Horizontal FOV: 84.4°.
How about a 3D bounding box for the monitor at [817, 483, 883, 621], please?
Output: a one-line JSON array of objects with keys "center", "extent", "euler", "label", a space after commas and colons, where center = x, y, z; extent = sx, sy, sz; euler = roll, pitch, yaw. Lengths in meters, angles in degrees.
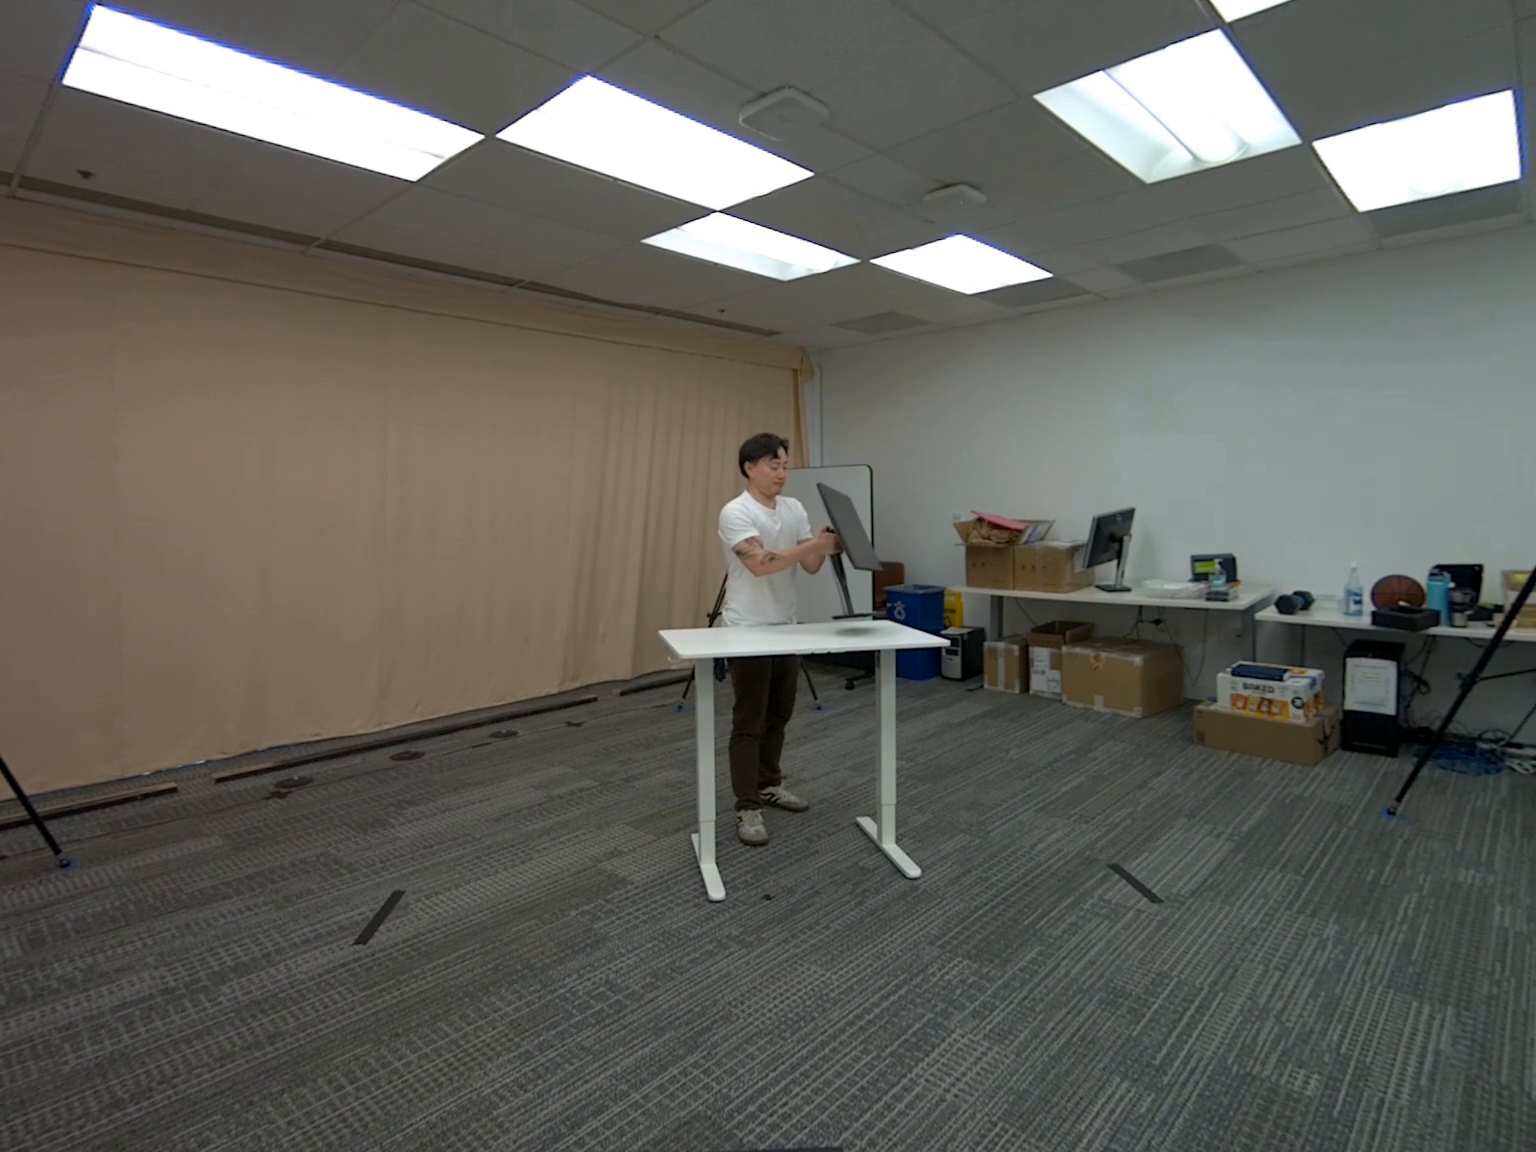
[{"center": [0.323, -0.084, 3.358], "extent": [0.189, 0.525, 0.529], "euler": [-12, -6, 13], "label": "monitor"}]
